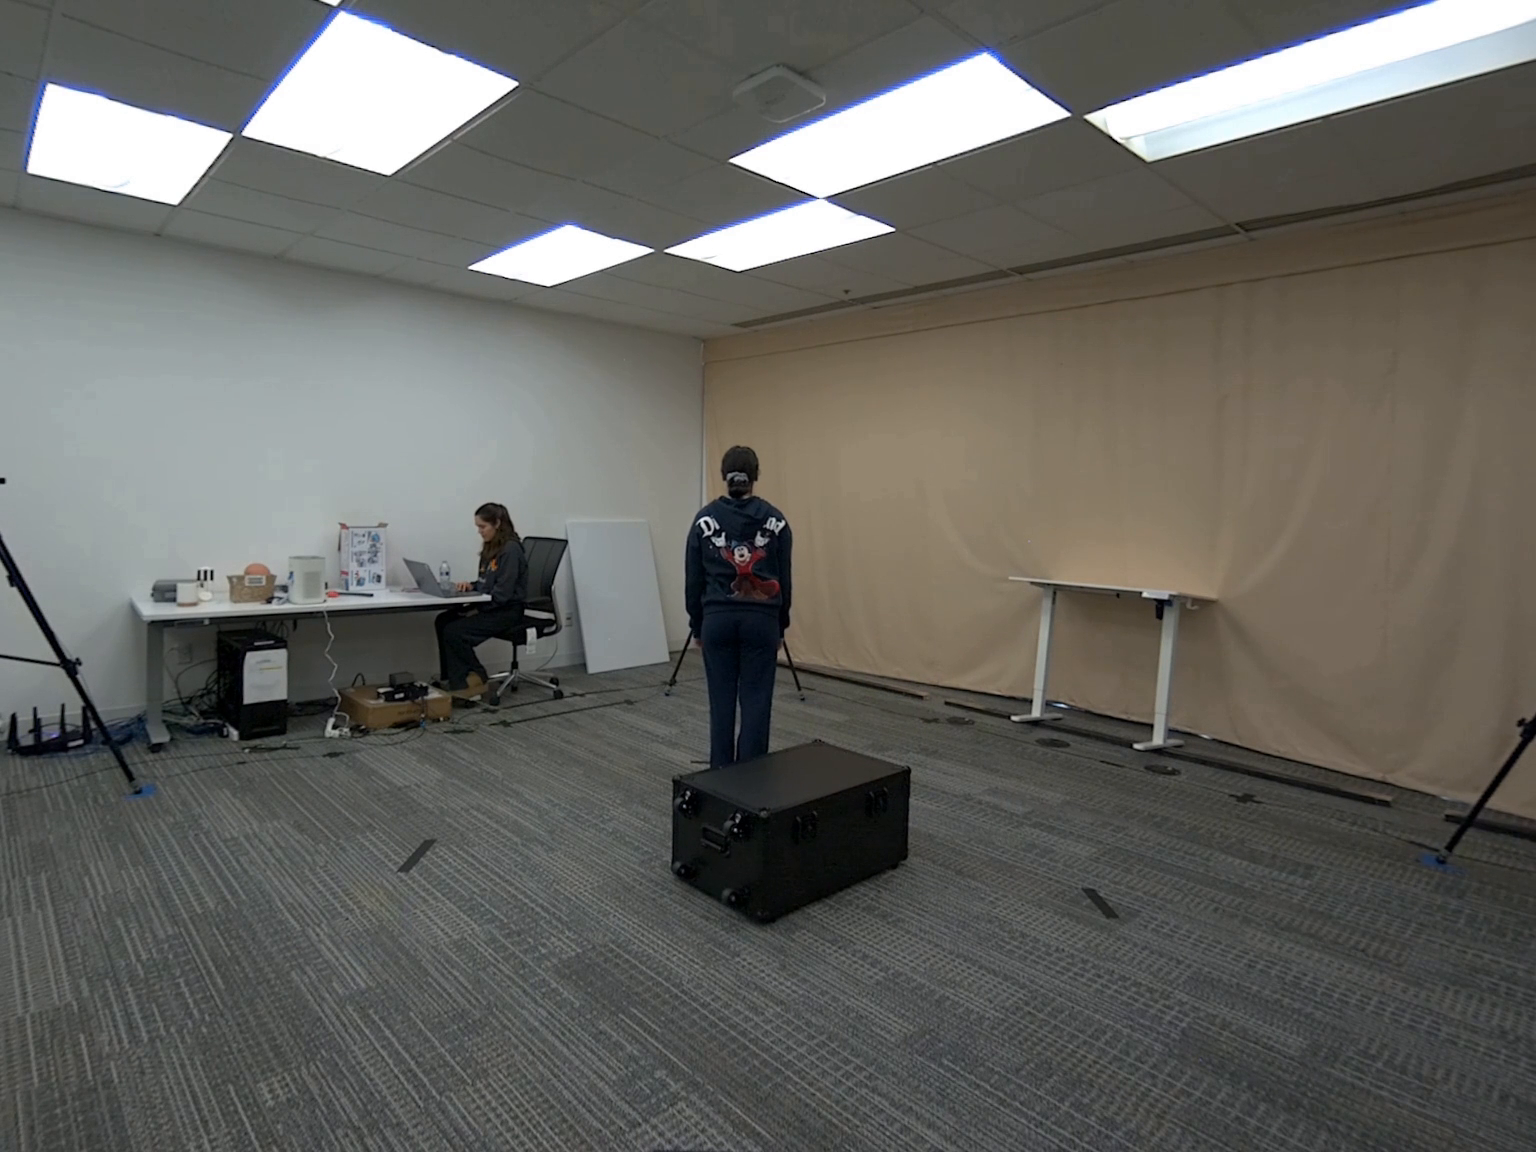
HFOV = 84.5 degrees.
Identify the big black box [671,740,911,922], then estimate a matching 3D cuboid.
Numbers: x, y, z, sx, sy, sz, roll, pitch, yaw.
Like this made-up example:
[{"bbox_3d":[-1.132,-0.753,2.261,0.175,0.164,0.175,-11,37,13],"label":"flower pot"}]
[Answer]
[{"bbox_3d":[0.069,0.918,3.125,0.841,0.395,0.534,-2,5,-44],"label":"big black box"}]
